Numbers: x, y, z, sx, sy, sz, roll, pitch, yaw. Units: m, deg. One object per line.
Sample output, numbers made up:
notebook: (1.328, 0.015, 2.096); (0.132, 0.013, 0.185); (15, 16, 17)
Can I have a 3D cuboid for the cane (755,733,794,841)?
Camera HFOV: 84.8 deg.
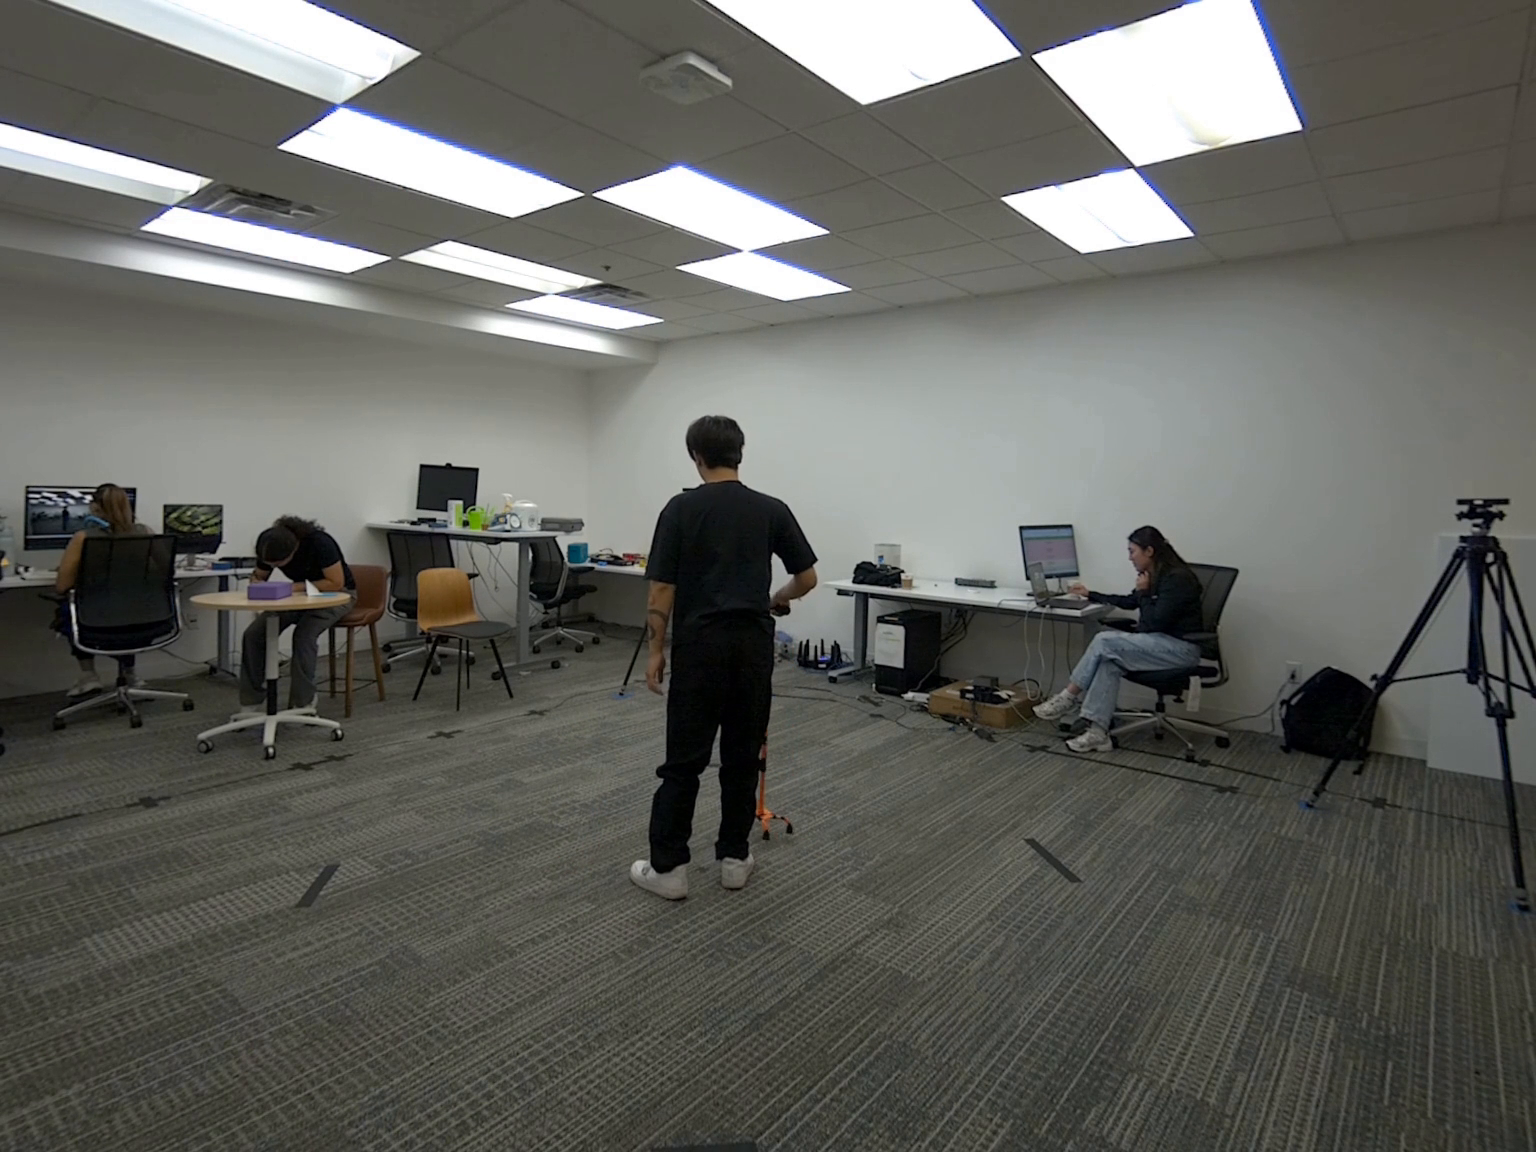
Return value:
cane: (-0.007, 0.566, 3.390); (0.147, 0.905, 0.213); (0, 4, -37)
